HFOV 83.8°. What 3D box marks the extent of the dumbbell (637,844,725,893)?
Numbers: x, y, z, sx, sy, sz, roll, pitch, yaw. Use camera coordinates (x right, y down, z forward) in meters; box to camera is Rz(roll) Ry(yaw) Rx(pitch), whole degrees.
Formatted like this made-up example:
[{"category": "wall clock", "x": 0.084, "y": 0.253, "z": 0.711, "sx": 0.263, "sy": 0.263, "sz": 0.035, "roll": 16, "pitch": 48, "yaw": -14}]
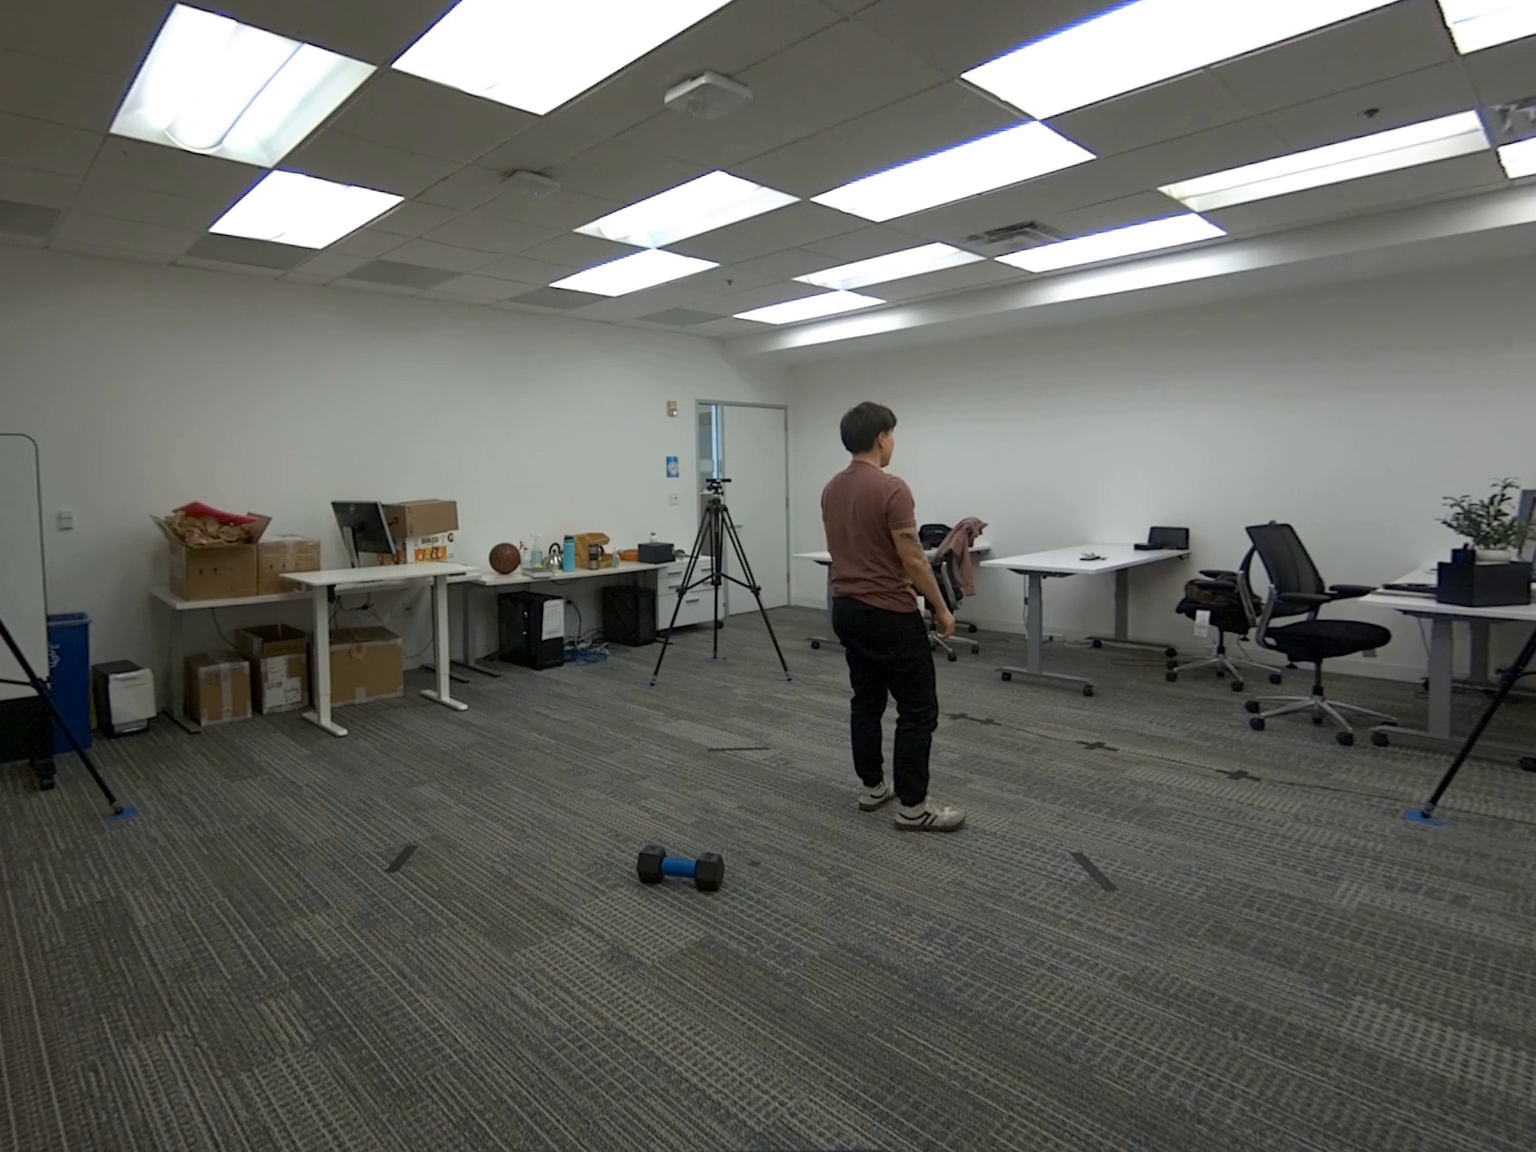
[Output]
[{"category": "dumbbell", "x": -0.301, "y": 1.010, "z": 2.959, "sx": 0.298, "sy": 0.125, "sz": 0.105, "roll": 1, "pitch": -27, "yaw": 17}]
